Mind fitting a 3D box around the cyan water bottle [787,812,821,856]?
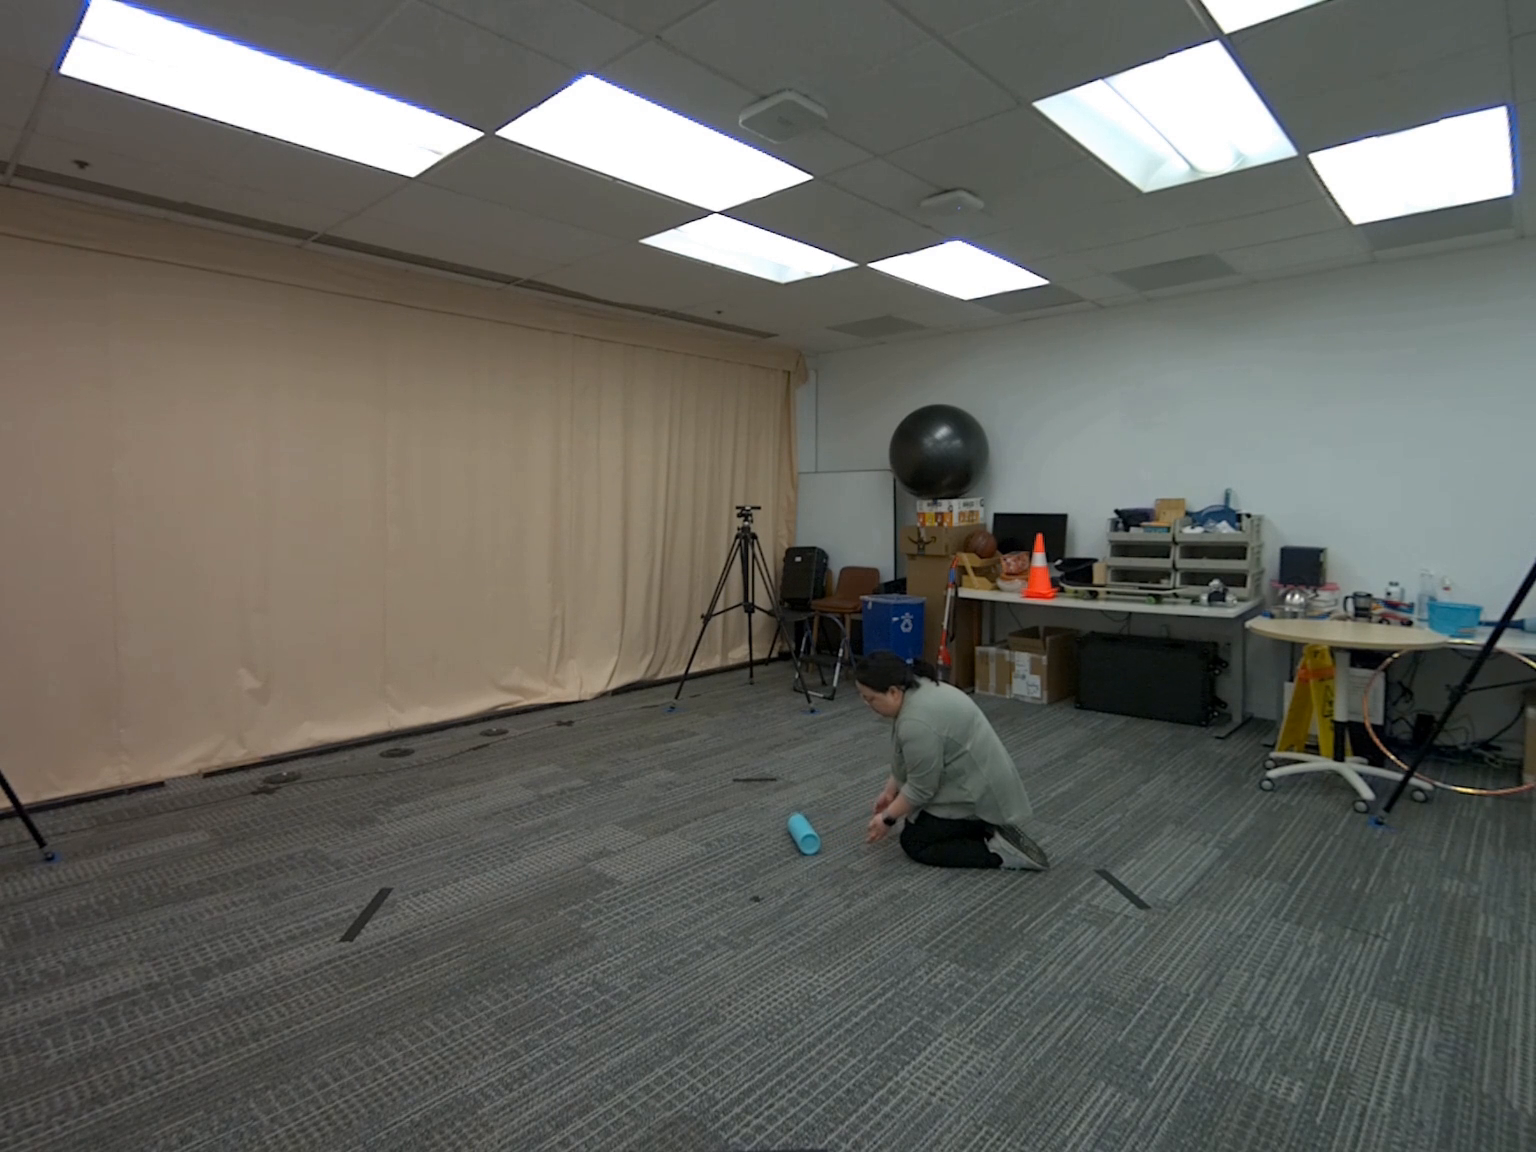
[{"bbox_3d":[0.147,1.058,3.496,0.091,0.092,0.286,-1,3,-10],"label":"cyan water bottle"}]
